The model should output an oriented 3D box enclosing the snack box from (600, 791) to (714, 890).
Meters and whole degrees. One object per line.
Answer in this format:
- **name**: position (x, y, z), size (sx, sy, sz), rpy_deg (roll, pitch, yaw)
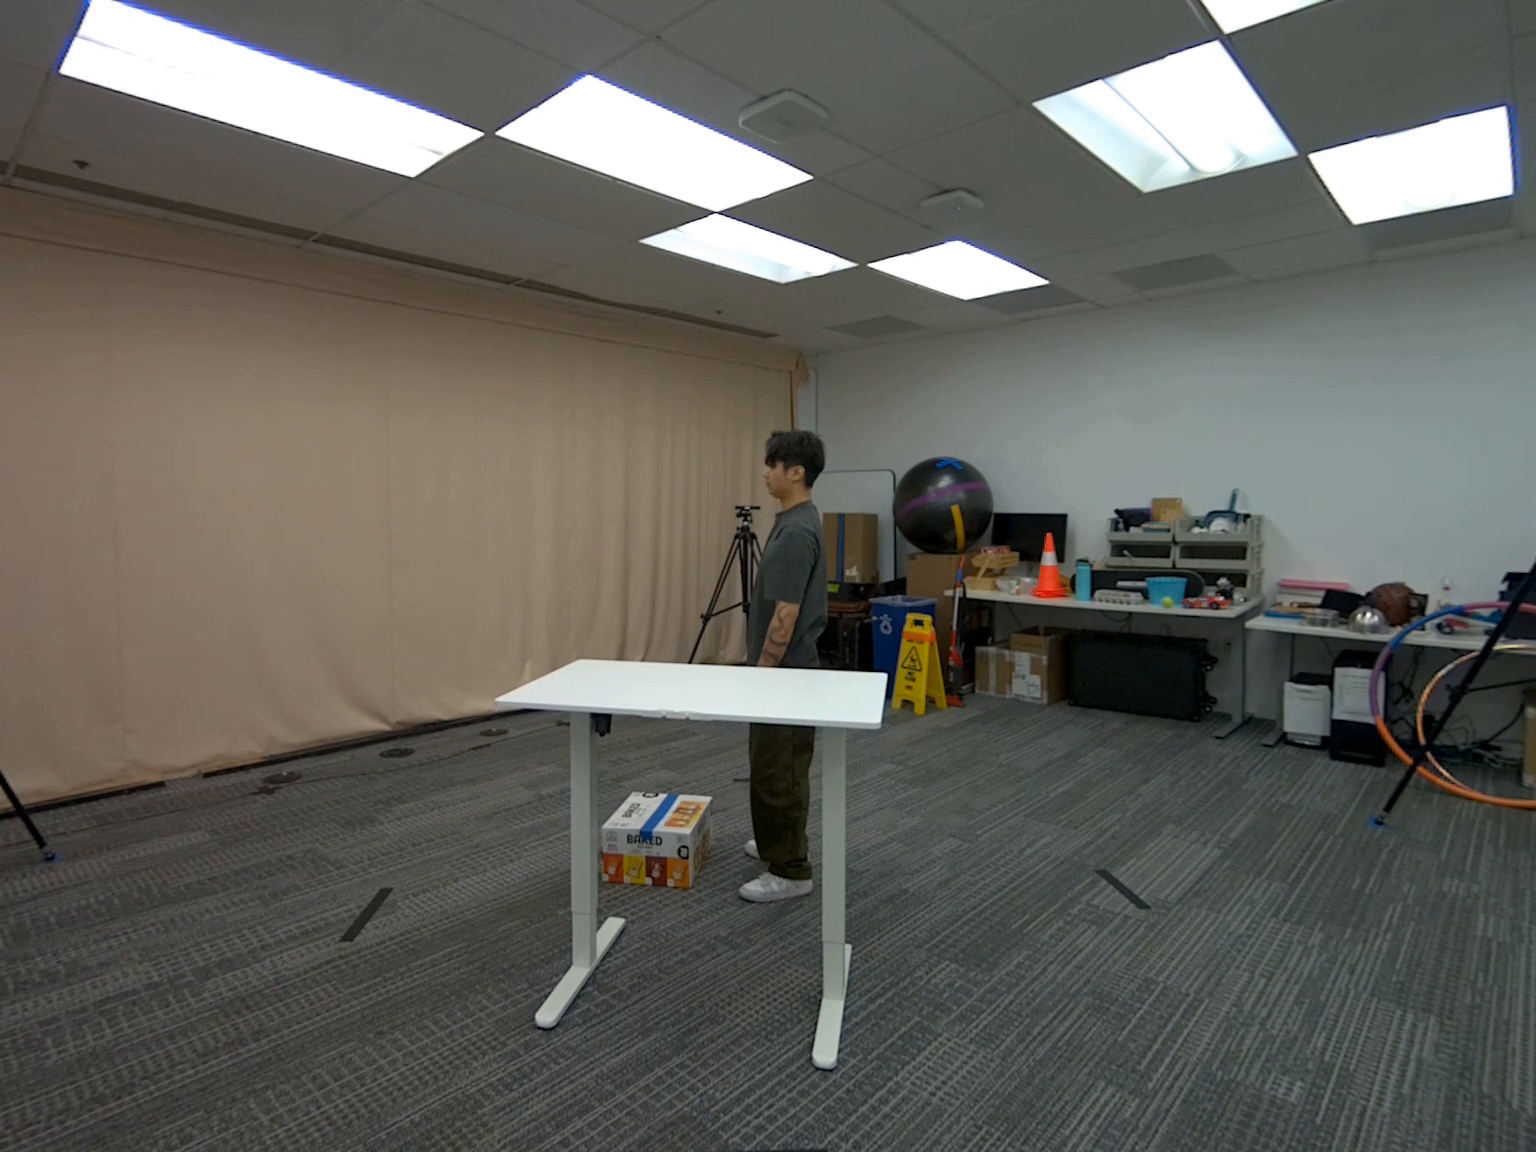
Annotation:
- **snack box**: position (-0.422, 1.014, 3.296), size (0.344, 0.205, 0.402), rpy_deg (0, 5, 9)
